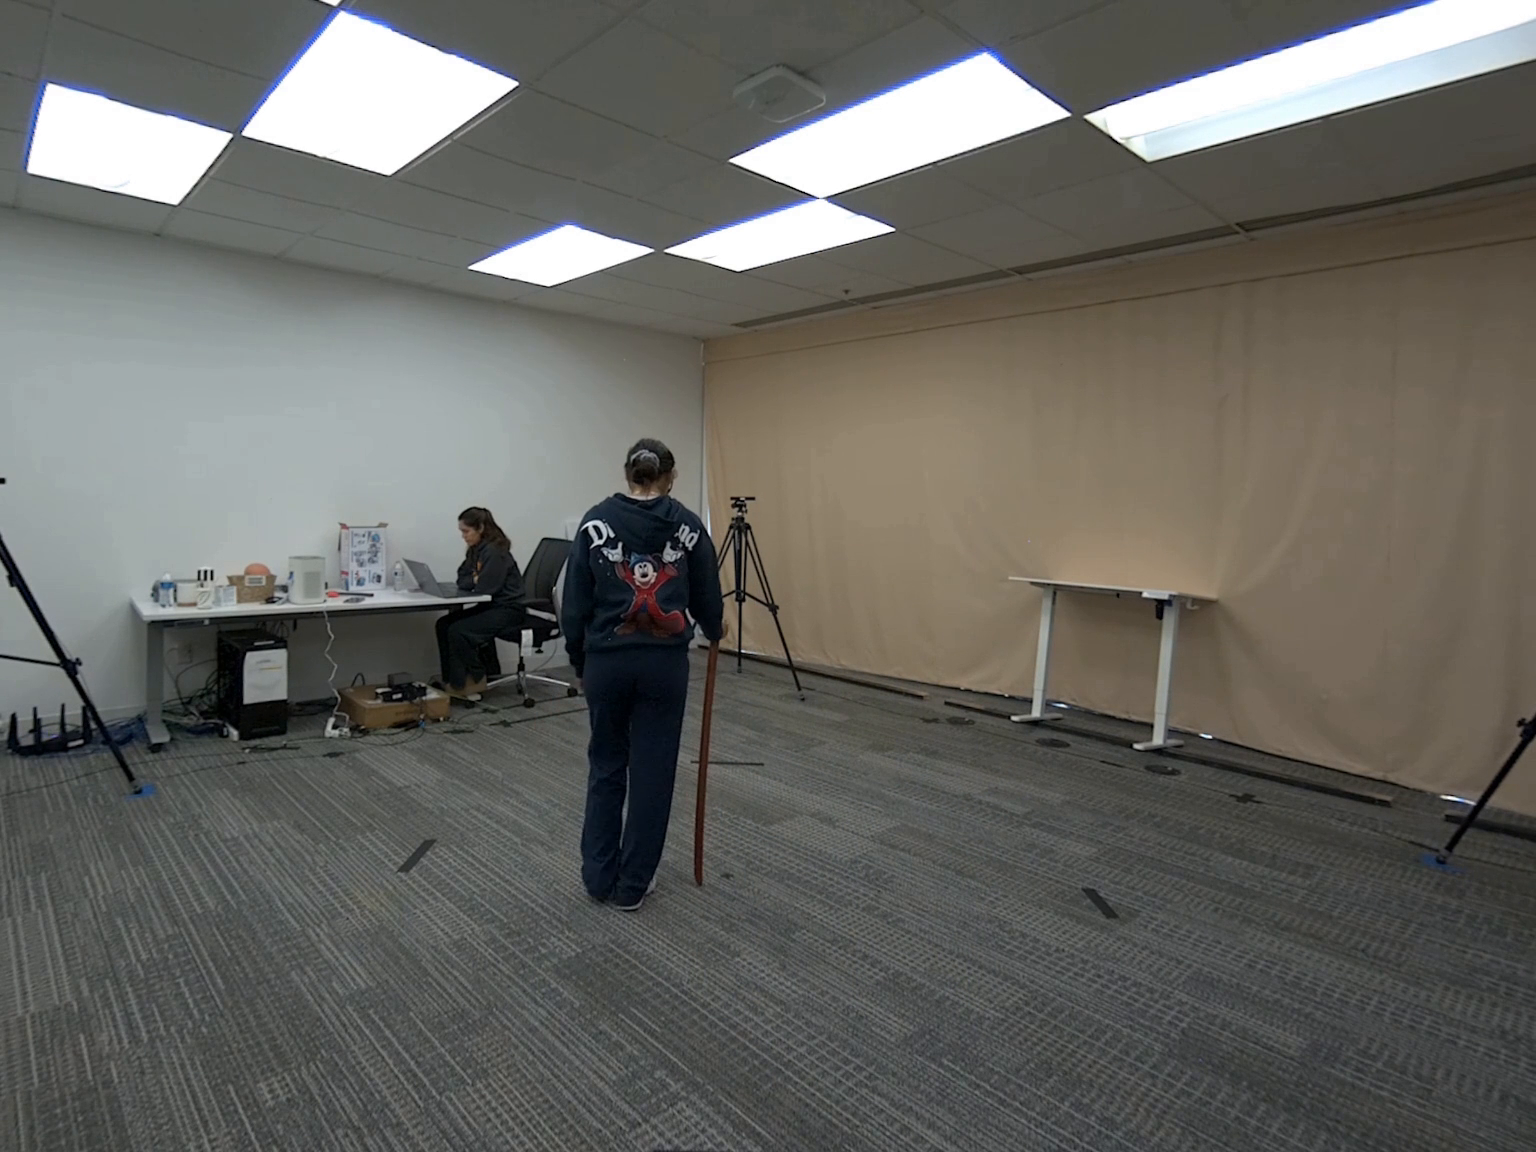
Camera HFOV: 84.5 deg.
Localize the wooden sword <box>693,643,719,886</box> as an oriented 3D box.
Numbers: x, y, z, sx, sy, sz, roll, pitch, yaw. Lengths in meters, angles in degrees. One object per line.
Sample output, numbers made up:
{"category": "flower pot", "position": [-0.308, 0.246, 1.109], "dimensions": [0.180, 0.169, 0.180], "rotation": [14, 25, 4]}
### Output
{"category": "wooden sword", "position": [-0.231, 0.618, 3.129], "dimensions": [0.024, 1.034, 0.050], "rotation": [-10, -18, 43]}
